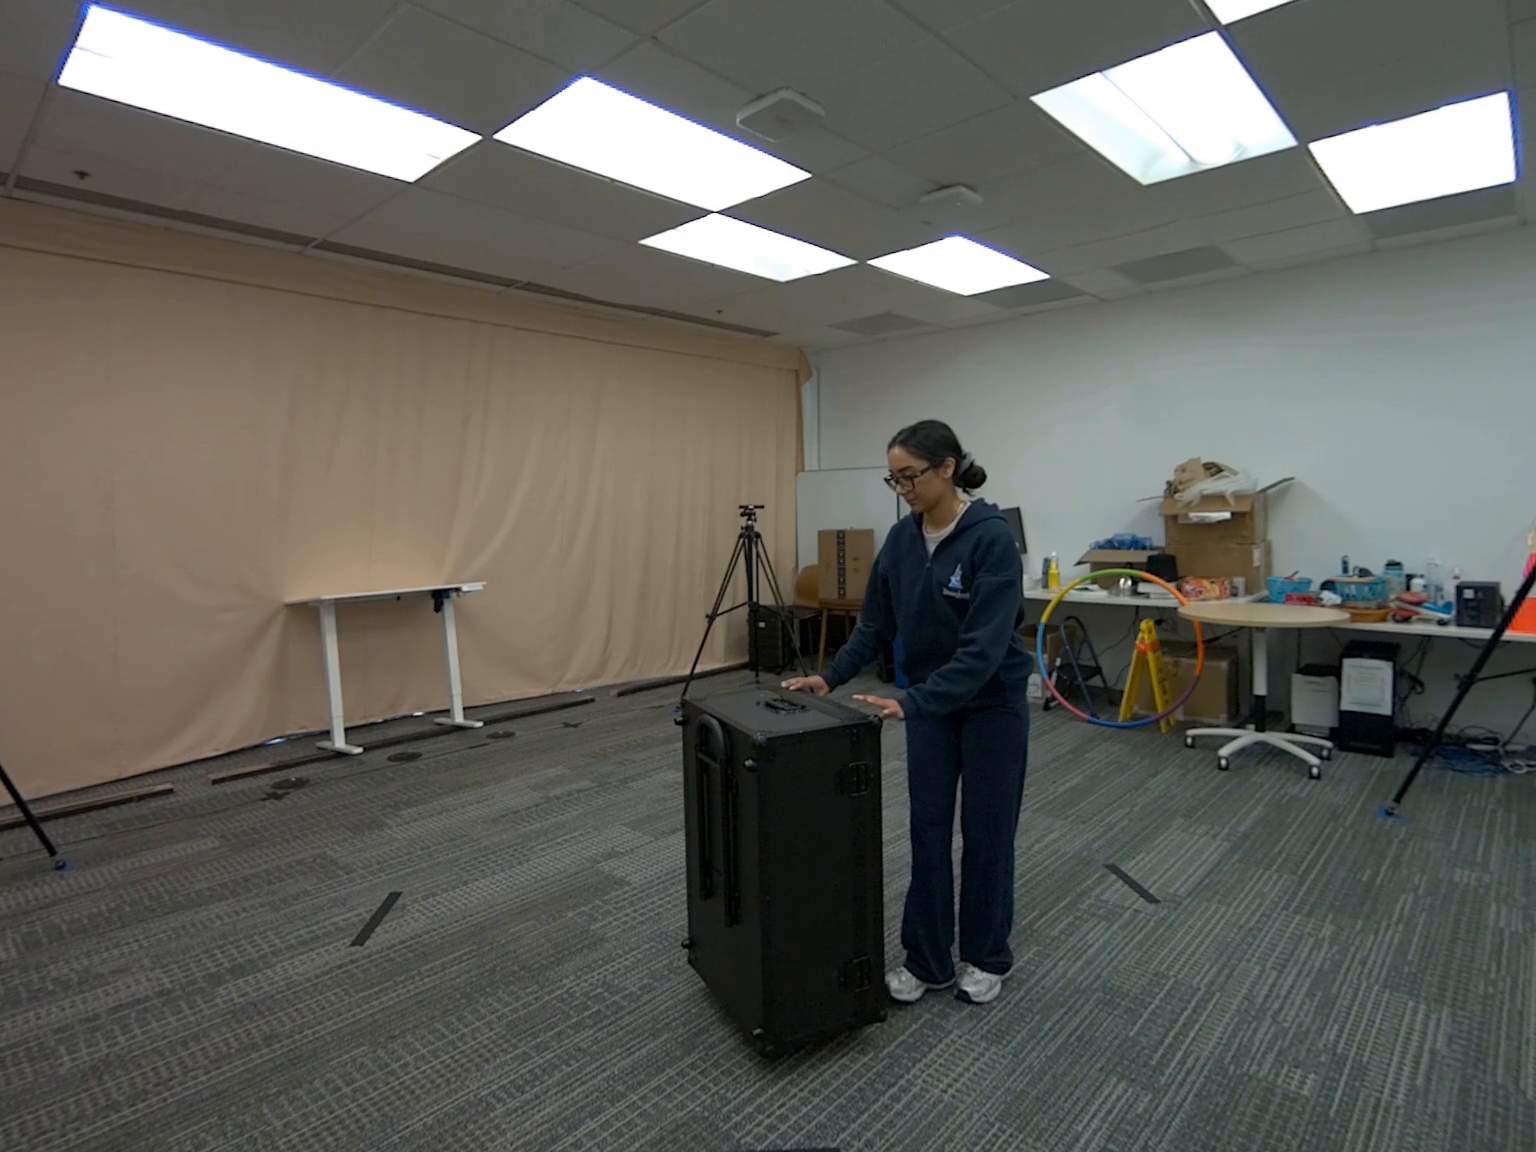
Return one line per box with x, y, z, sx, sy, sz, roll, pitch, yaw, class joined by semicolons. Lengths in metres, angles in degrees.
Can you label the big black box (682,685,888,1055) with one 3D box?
0.028;0.779;2.267;0.387;0.859;0.535;-3;4;-26;big black box
